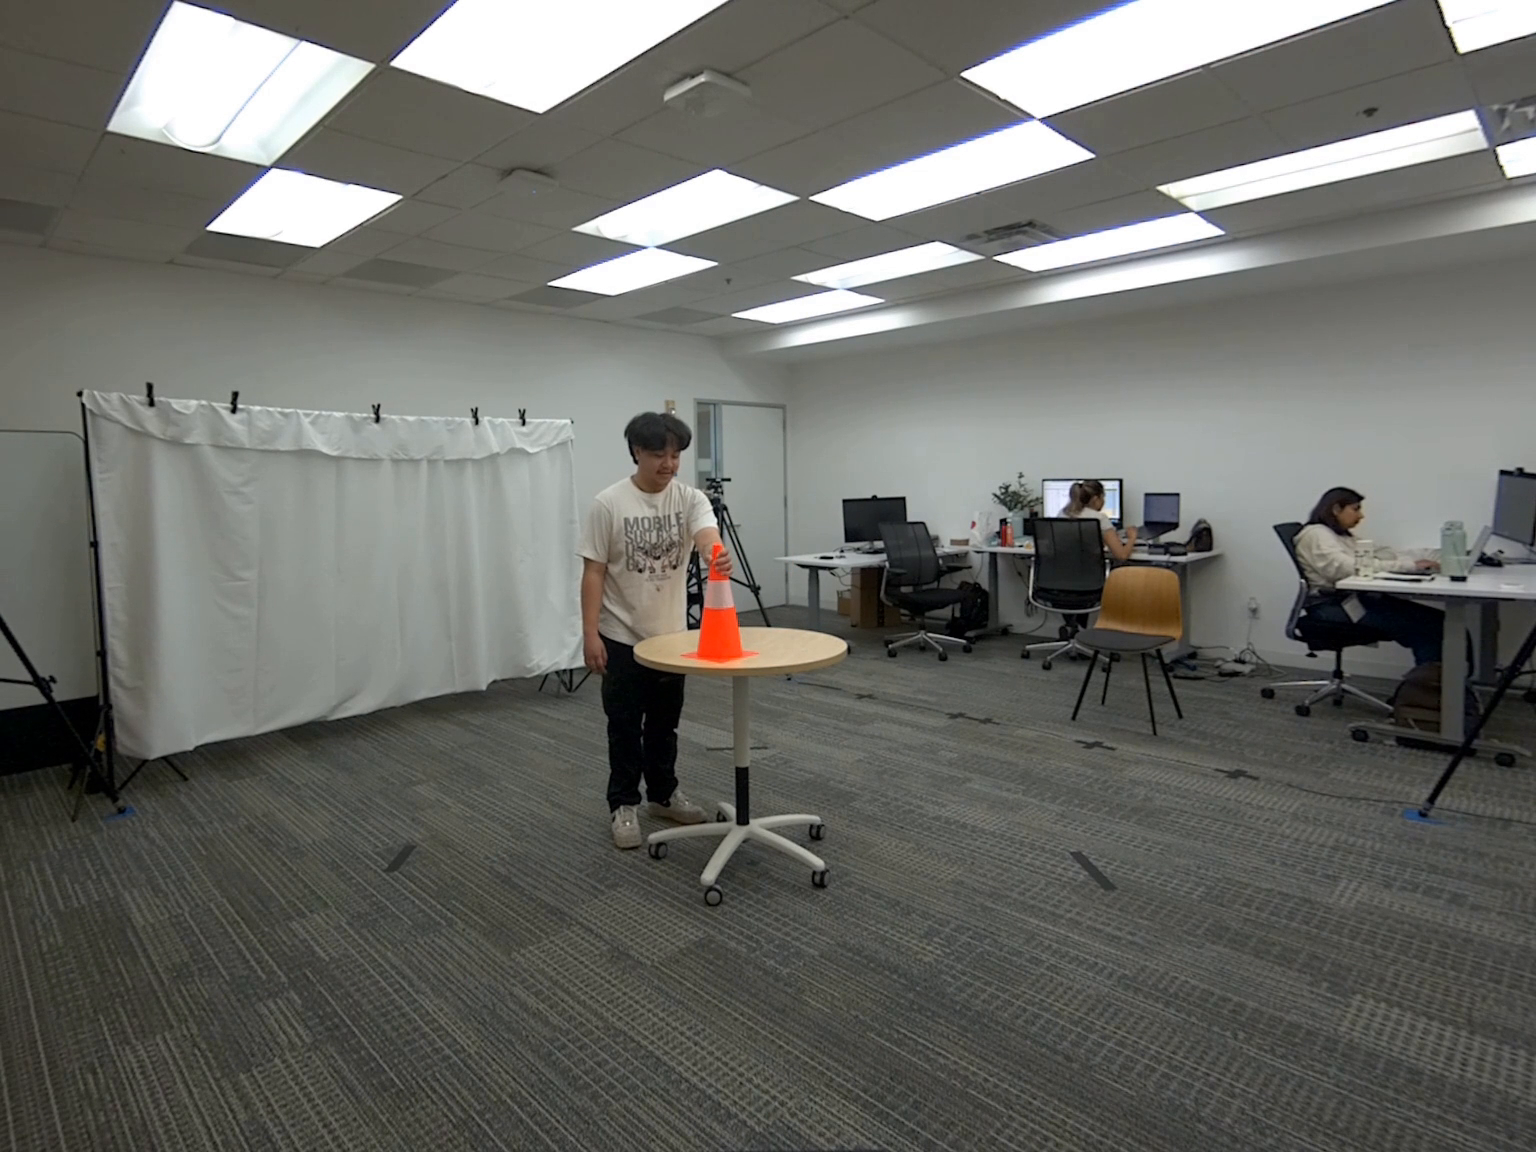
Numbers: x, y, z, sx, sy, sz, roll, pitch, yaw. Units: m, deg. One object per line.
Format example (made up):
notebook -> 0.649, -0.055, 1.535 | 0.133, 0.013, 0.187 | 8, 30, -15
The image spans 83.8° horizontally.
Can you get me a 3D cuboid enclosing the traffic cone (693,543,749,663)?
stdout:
traffic cone -> -0.168, 0.084, 2.892 | 0.209, 0.382, 0.200 | 2, 7, 40
